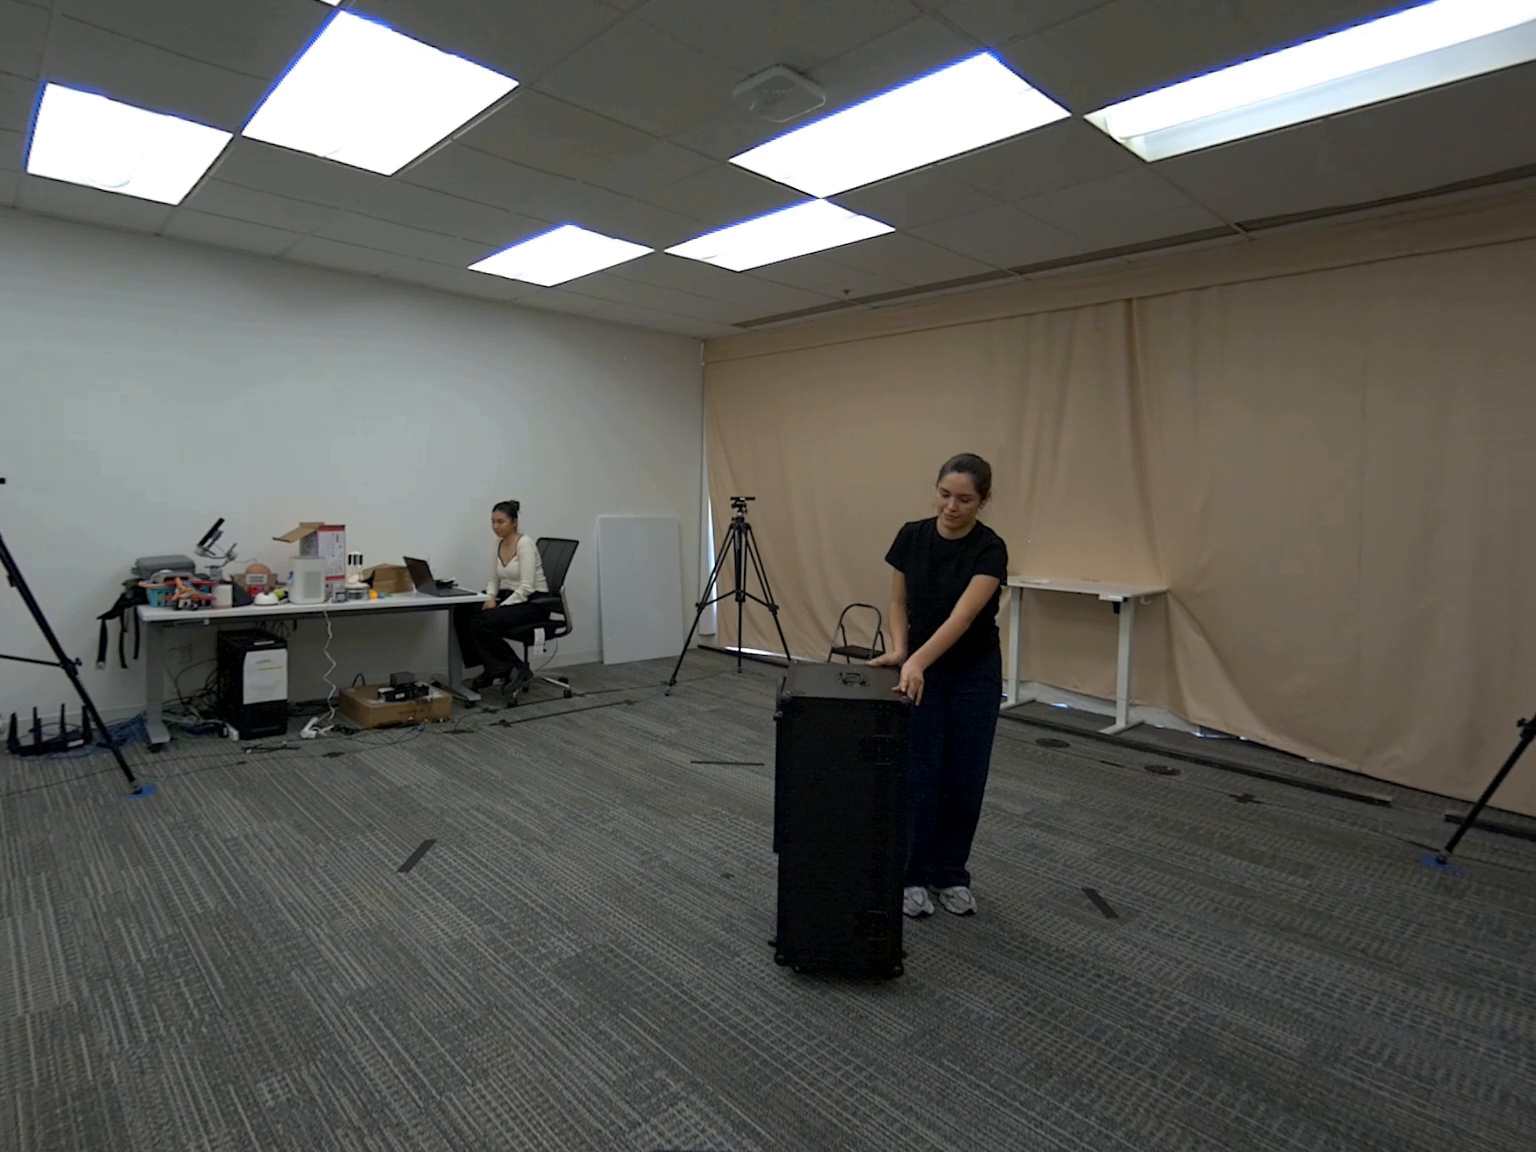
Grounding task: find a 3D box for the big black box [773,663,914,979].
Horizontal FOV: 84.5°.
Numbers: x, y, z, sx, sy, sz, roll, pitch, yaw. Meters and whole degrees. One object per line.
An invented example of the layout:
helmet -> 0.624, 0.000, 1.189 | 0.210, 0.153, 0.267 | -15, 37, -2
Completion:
big black box -> 0.212, 0.742, 2.568 | 0.398, 0.859, 0.520 | 0, 4, 6
